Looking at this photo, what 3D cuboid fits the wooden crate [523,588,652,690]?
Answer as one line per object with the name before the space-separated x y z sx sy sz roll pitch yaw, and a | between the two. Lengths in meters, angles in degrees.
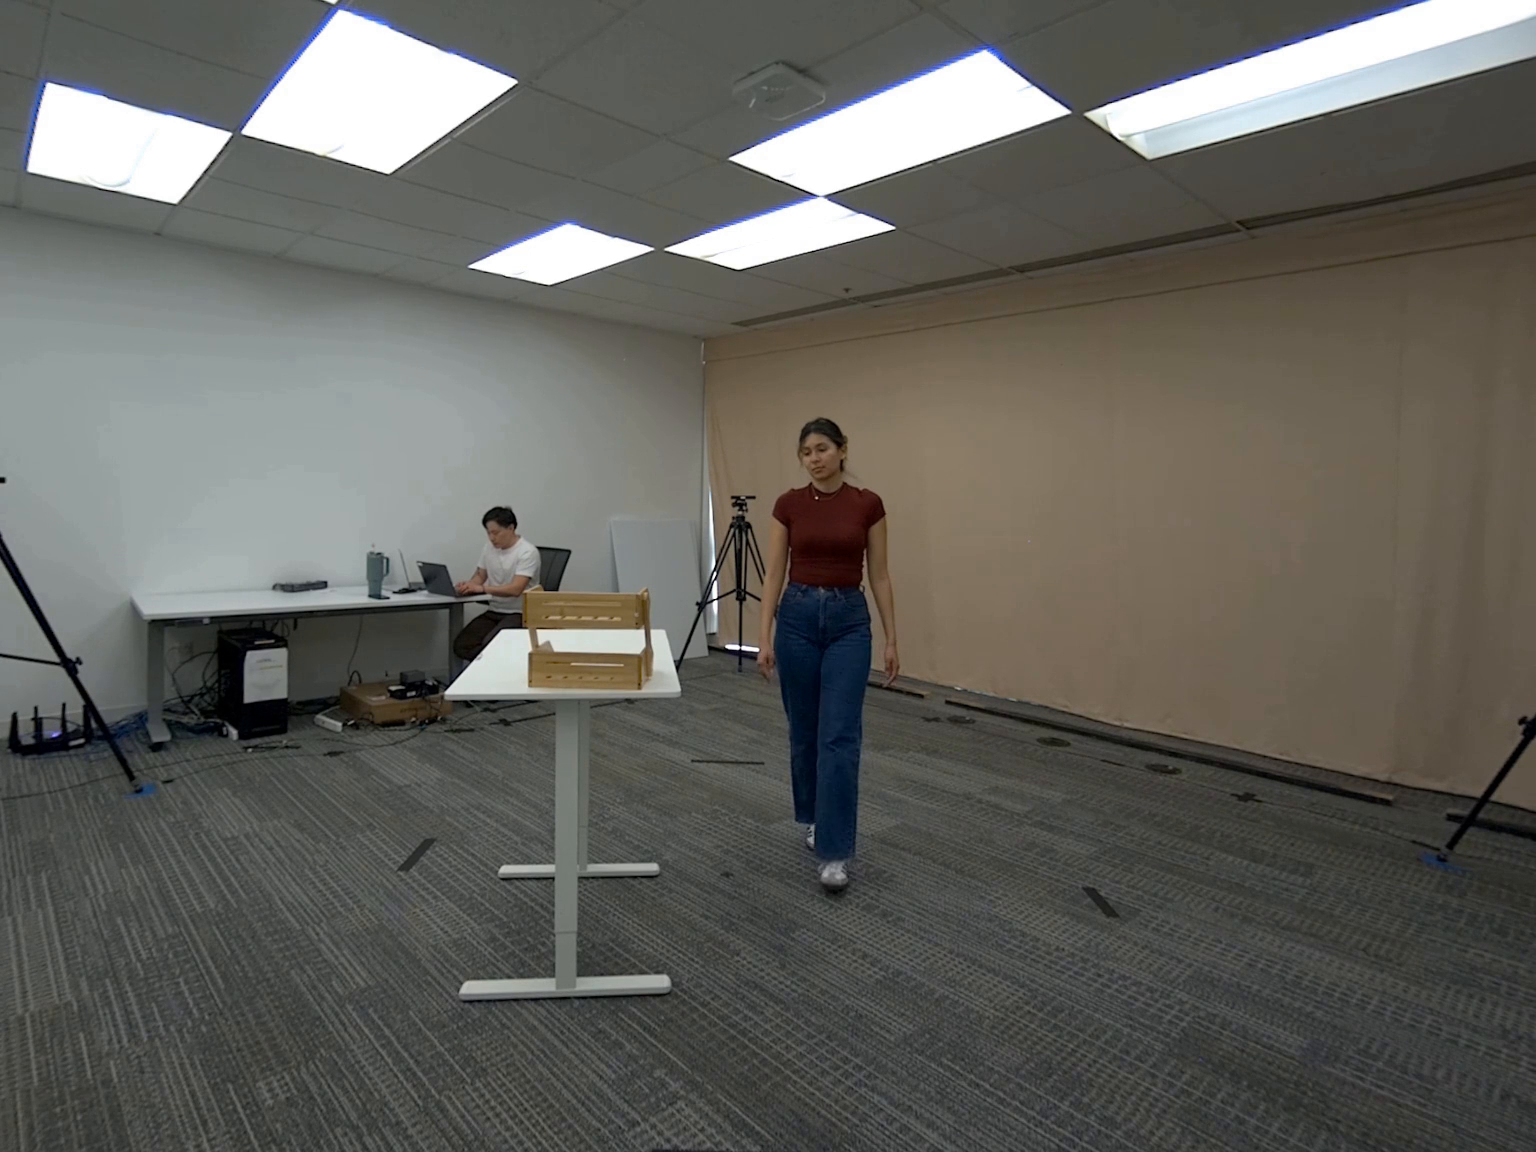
wooden crate | -0.488 0.158 2.299 0.325 0.272 0.302 1 4 0
